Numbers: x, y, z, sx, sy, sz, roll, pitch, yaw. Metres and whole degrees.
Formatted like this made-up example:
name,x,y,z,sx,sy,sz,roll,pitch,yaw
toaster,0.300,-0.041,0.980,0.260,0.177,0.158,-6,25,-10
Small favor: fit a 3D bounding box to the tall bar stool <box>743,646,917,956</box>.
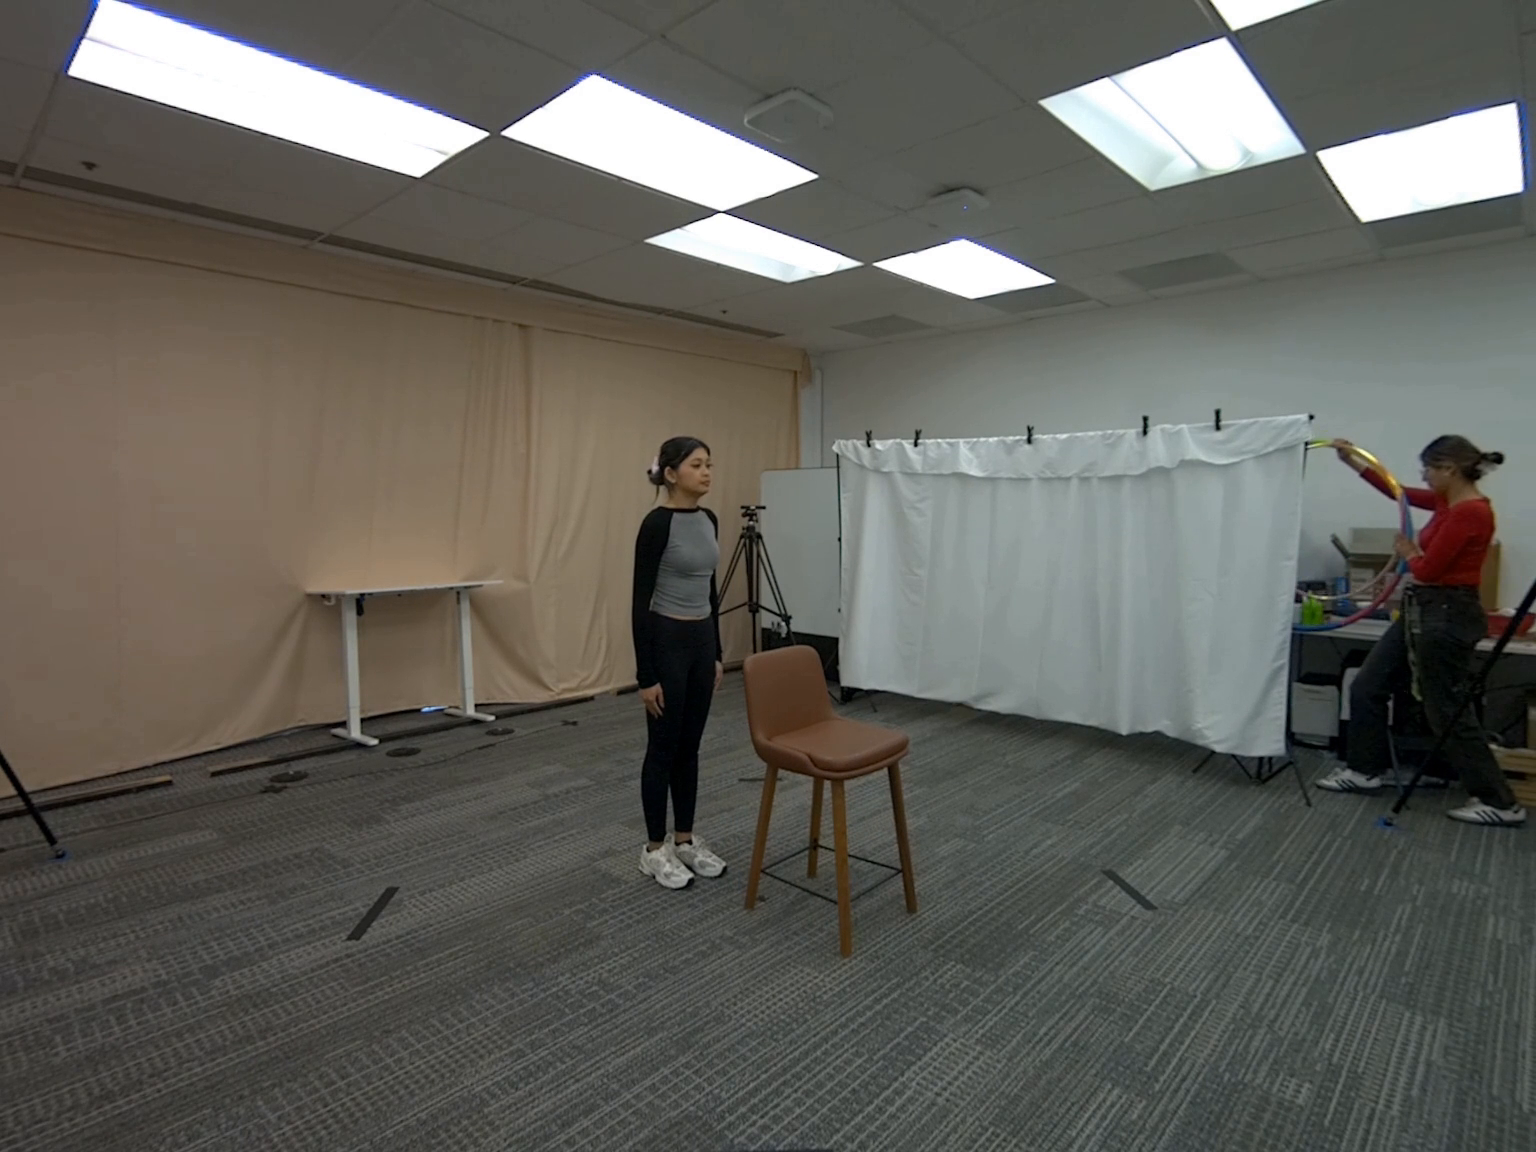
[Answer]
name,x,y,z,sx,sy,sz,roll,pitch,yaw
tall bar stool,0.205,0.717,2.869,0.483,0.888,0.442,1,3,43
